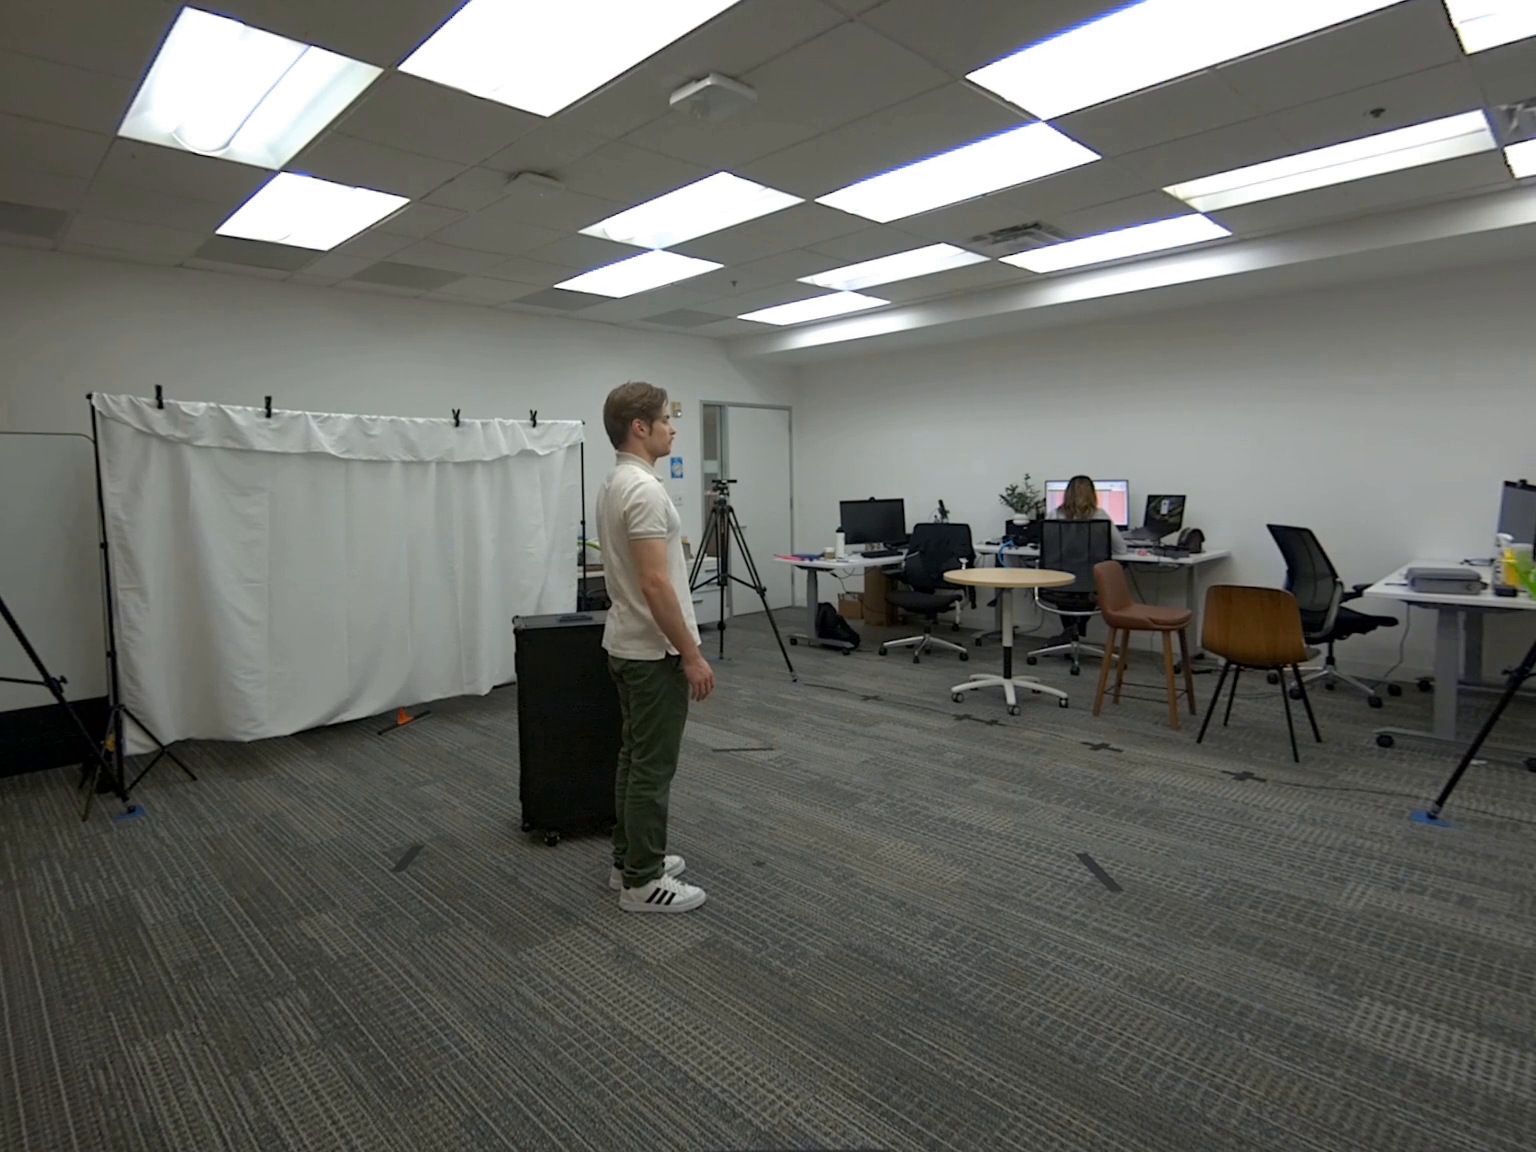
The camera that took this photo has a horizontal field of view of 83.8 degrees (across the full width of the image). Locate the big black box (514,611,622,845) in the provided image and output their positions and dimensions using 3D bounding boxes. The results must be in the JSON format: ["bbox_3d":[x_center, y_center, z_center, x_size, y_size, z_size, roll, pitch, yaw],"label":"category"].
[{"bbox_3d":[-0.787,0.601,3.487,0.515,0.866,0.392,-2,3,-17],"label":"big black box"}]
